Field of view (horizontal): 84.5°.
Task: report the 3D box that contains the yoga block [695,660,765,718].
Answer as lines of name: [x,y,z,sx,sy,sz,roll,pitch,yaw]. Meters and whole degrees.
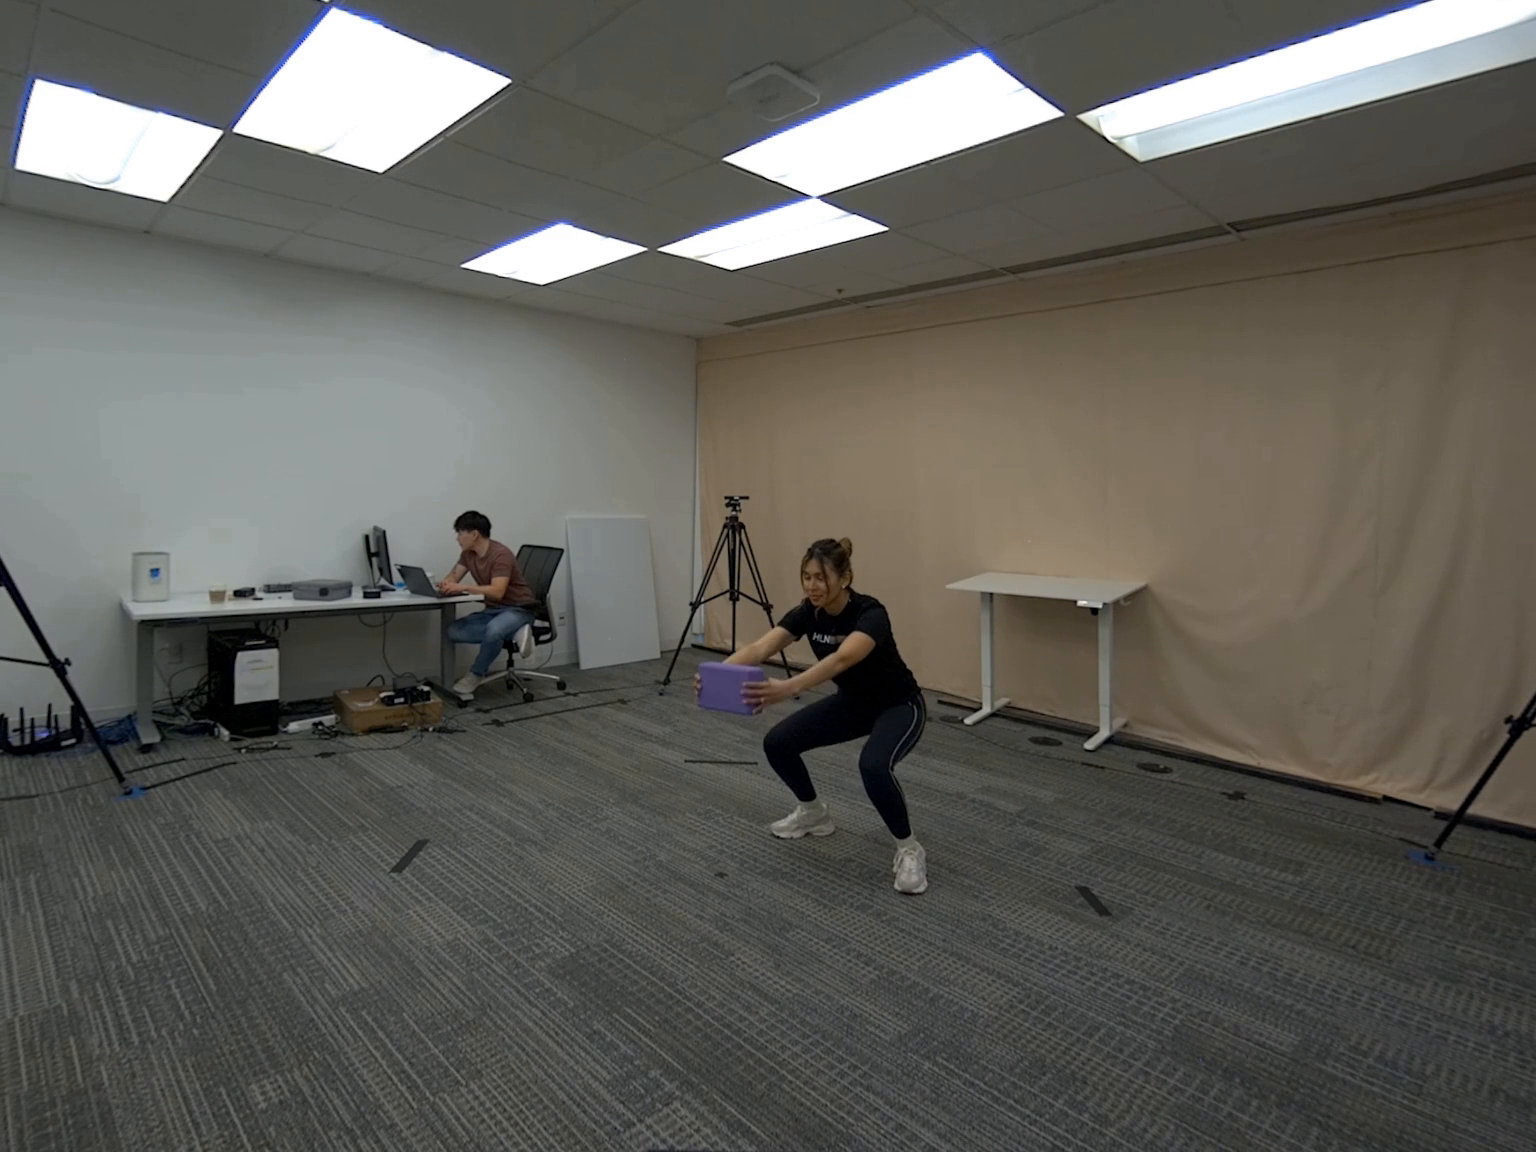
yoga block: [-0.128,0.364,2.767,0.235,0.149,0.074,1,0,39]
